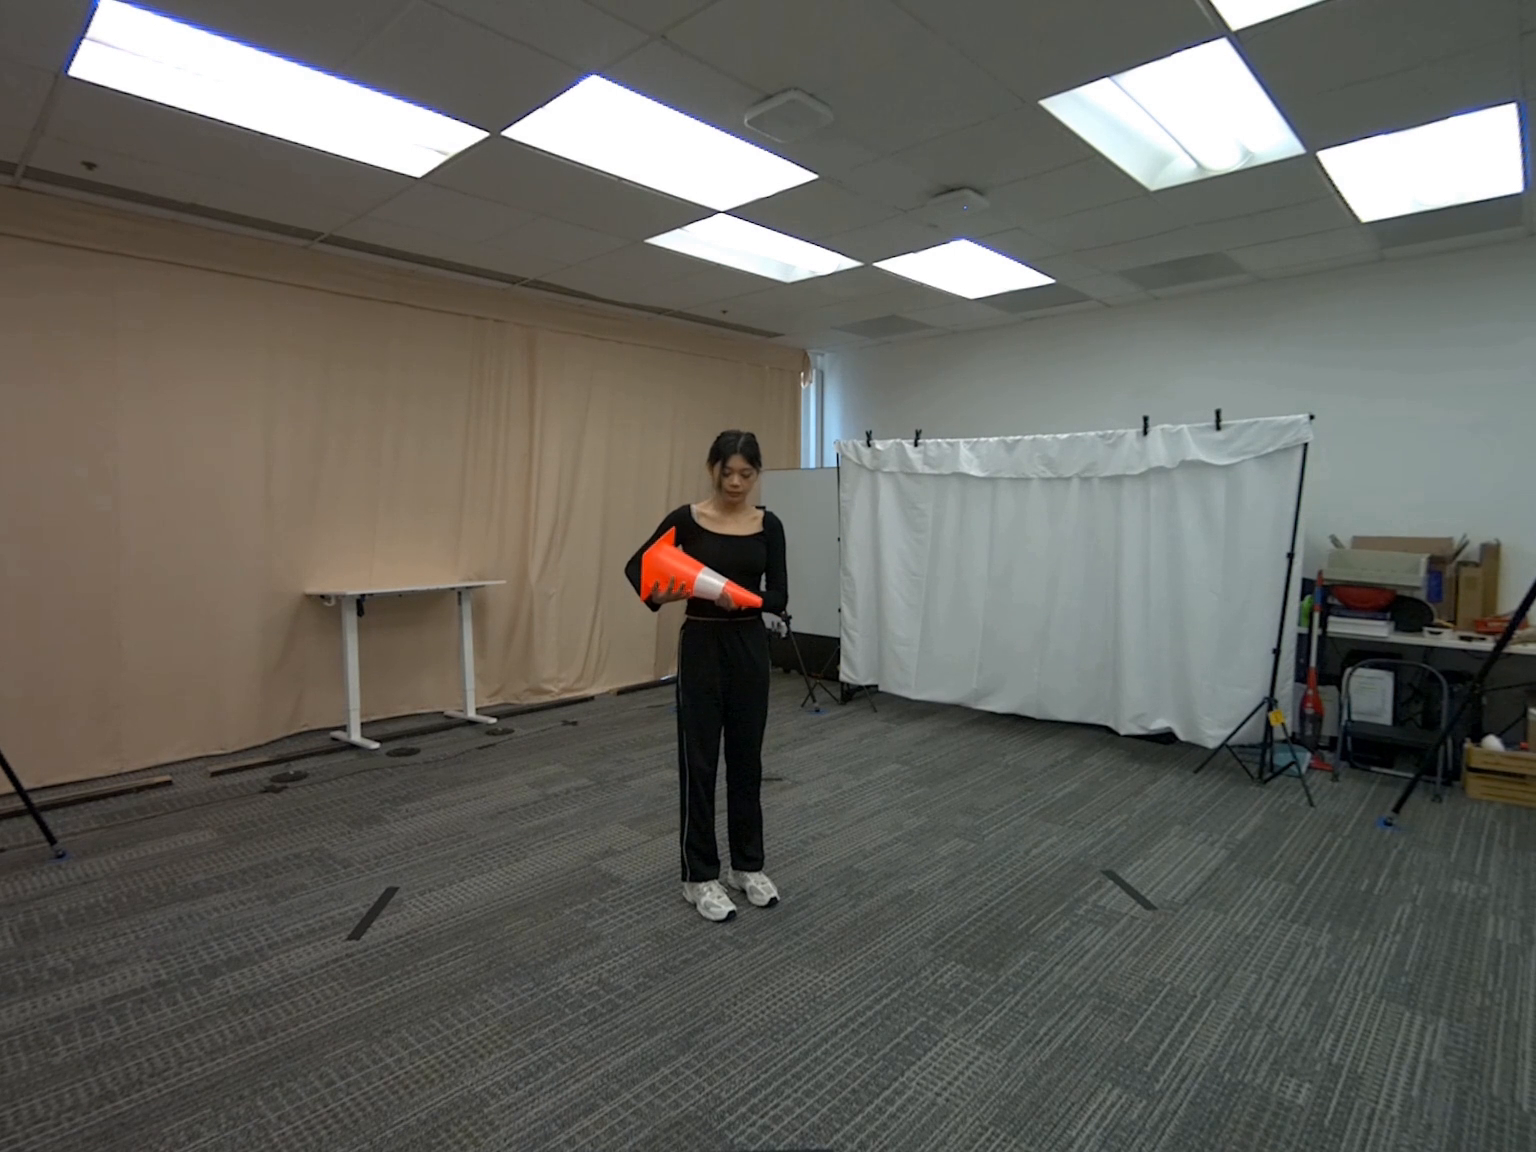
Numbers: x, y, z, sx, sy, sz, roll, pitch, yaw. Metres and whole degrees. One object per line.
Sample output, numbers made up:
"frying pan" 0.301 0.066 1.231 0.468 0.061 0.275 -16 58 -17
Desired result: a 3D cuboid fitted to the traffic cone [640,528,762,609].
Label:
"traffic cone" -0.186 0.025 2.725 0.392 0.200 0.203 20 39 18
